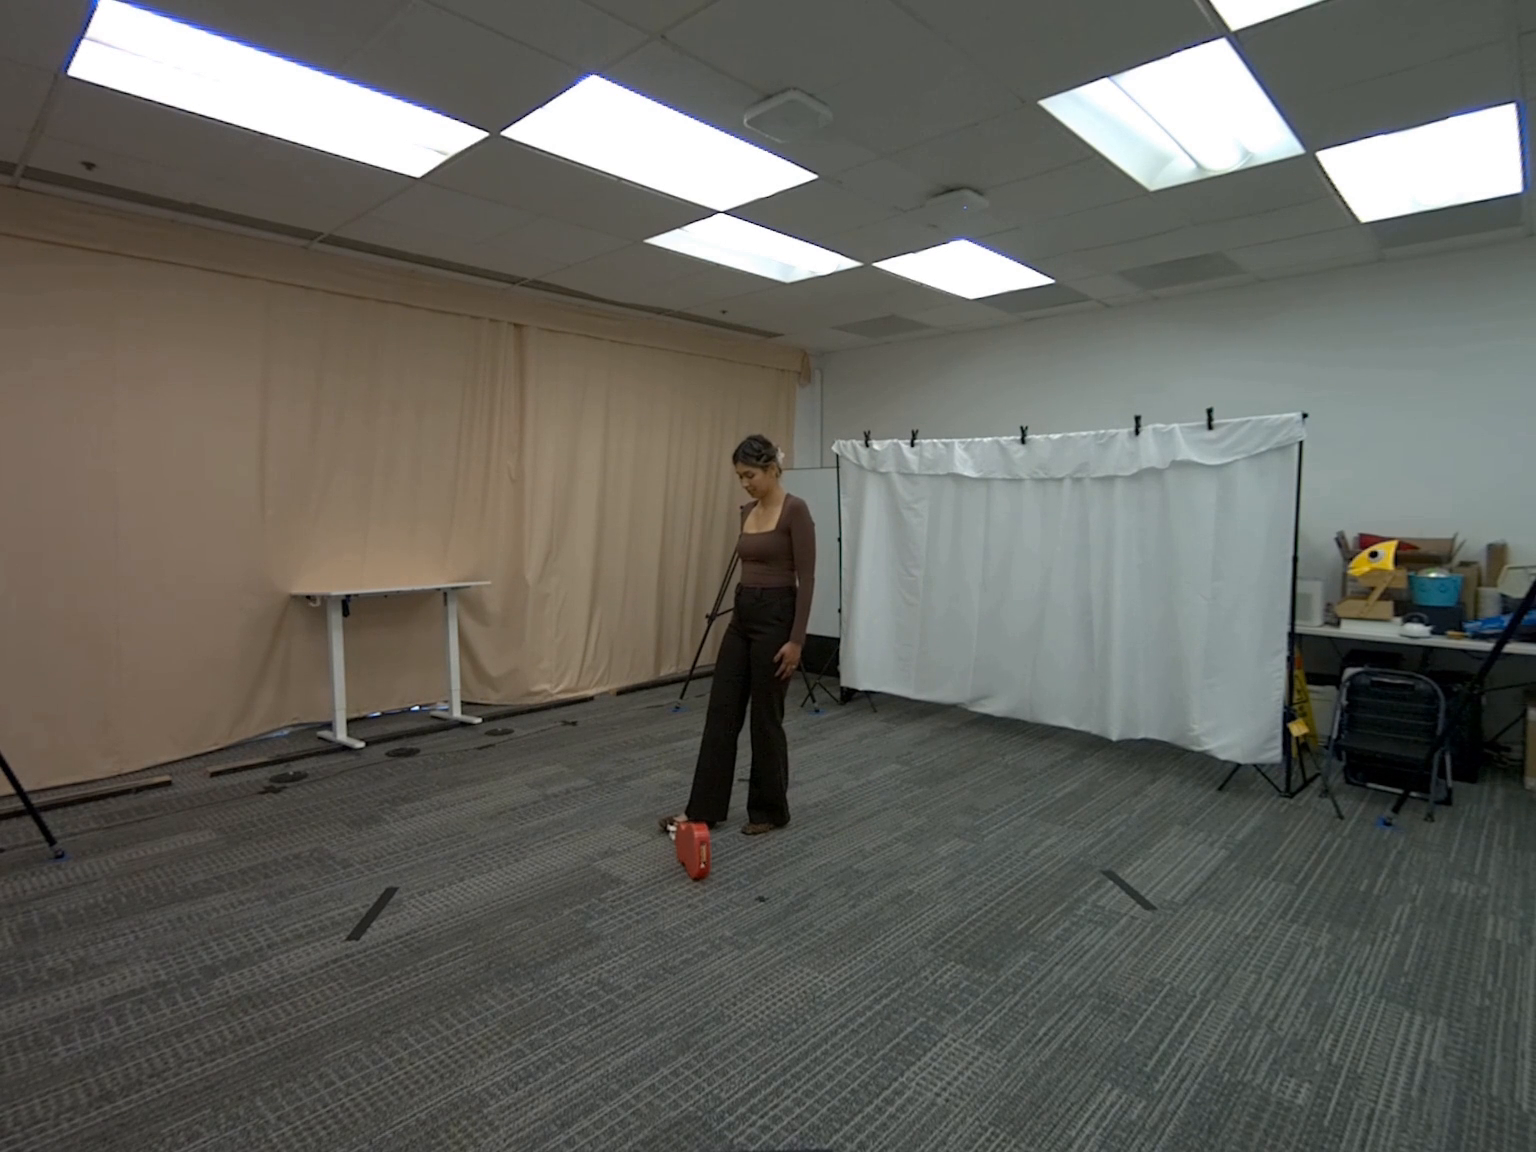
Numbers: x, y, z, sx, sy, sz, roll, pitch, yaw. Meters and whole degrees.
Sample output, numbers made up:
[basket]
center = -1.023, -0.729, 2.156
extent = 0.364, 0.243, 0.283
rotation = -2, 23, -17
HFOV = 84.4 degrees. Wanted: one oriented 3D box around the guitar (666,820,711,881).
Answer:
[guitar]
center = -0.327, 1.069, 3.326
extent = 0.069, 0.195, 0.503
rotation = 2, -15, -22
